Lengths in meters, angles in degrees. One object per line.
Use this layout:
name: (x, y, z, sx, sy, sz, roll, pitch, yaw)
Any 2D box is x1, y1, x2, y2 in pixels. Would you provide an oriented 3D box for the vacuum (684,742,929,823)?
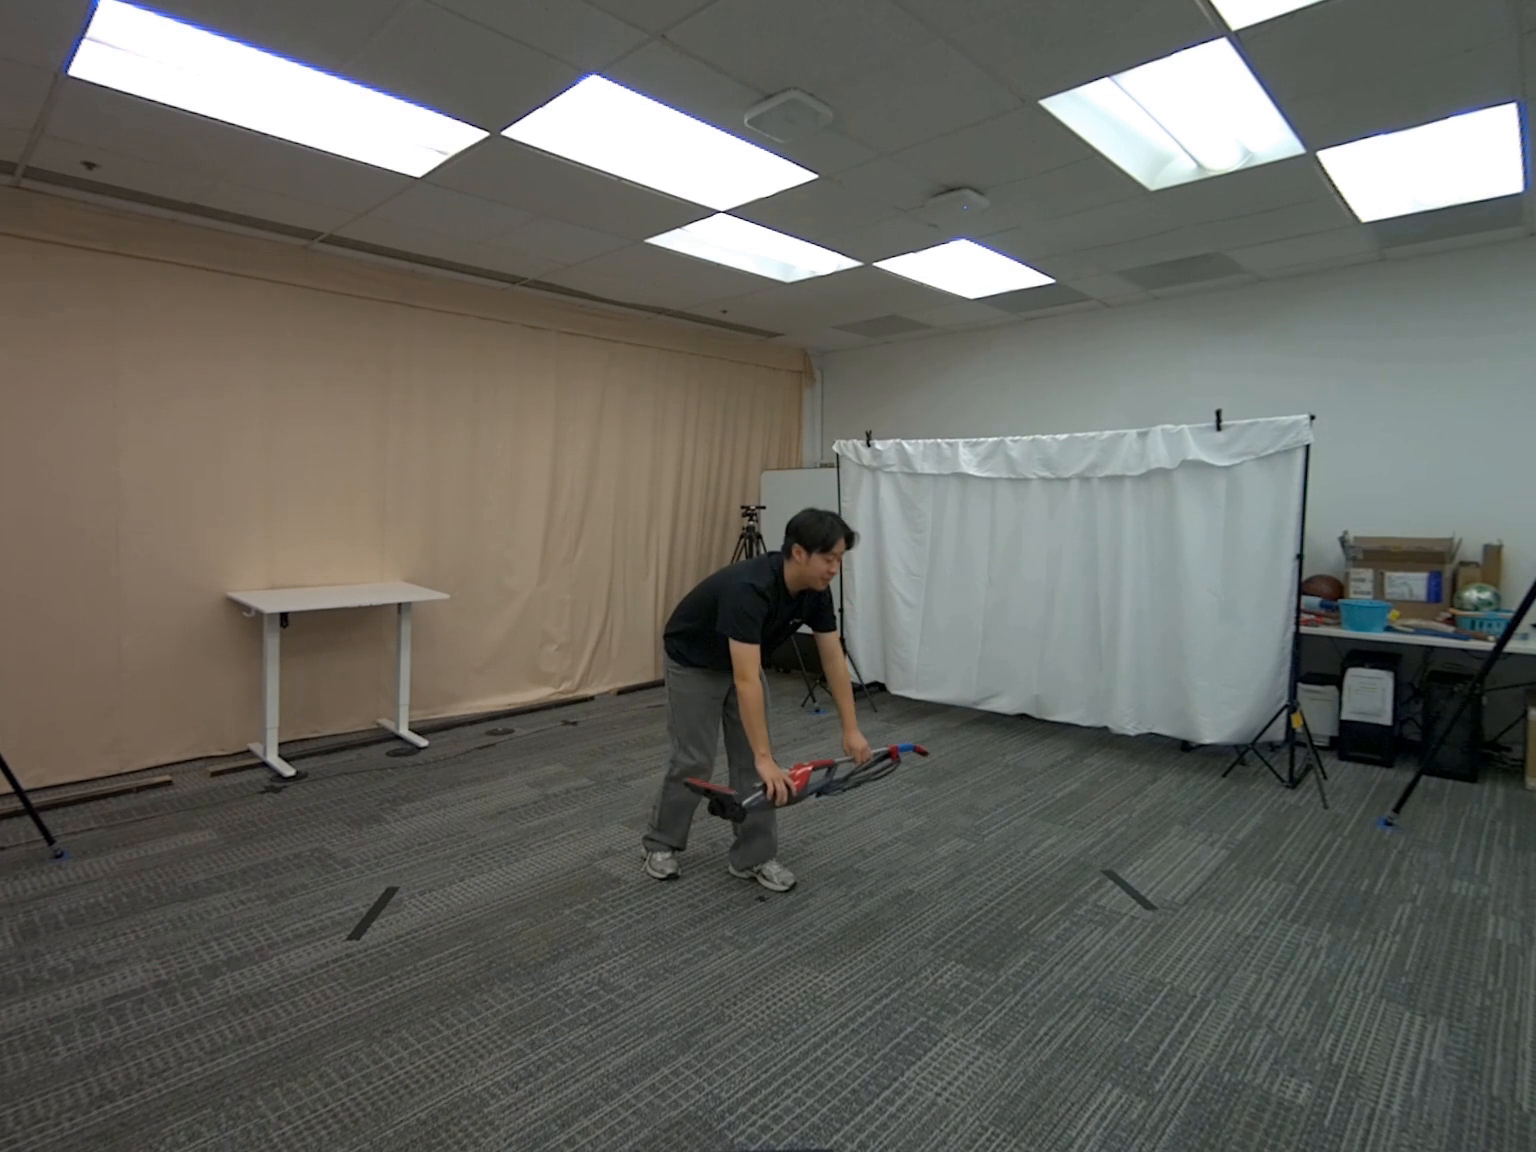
vacuum: (0.230, 0.700, 2.929, 1.016, 0.144, 0.261, 1, 1, -40)
